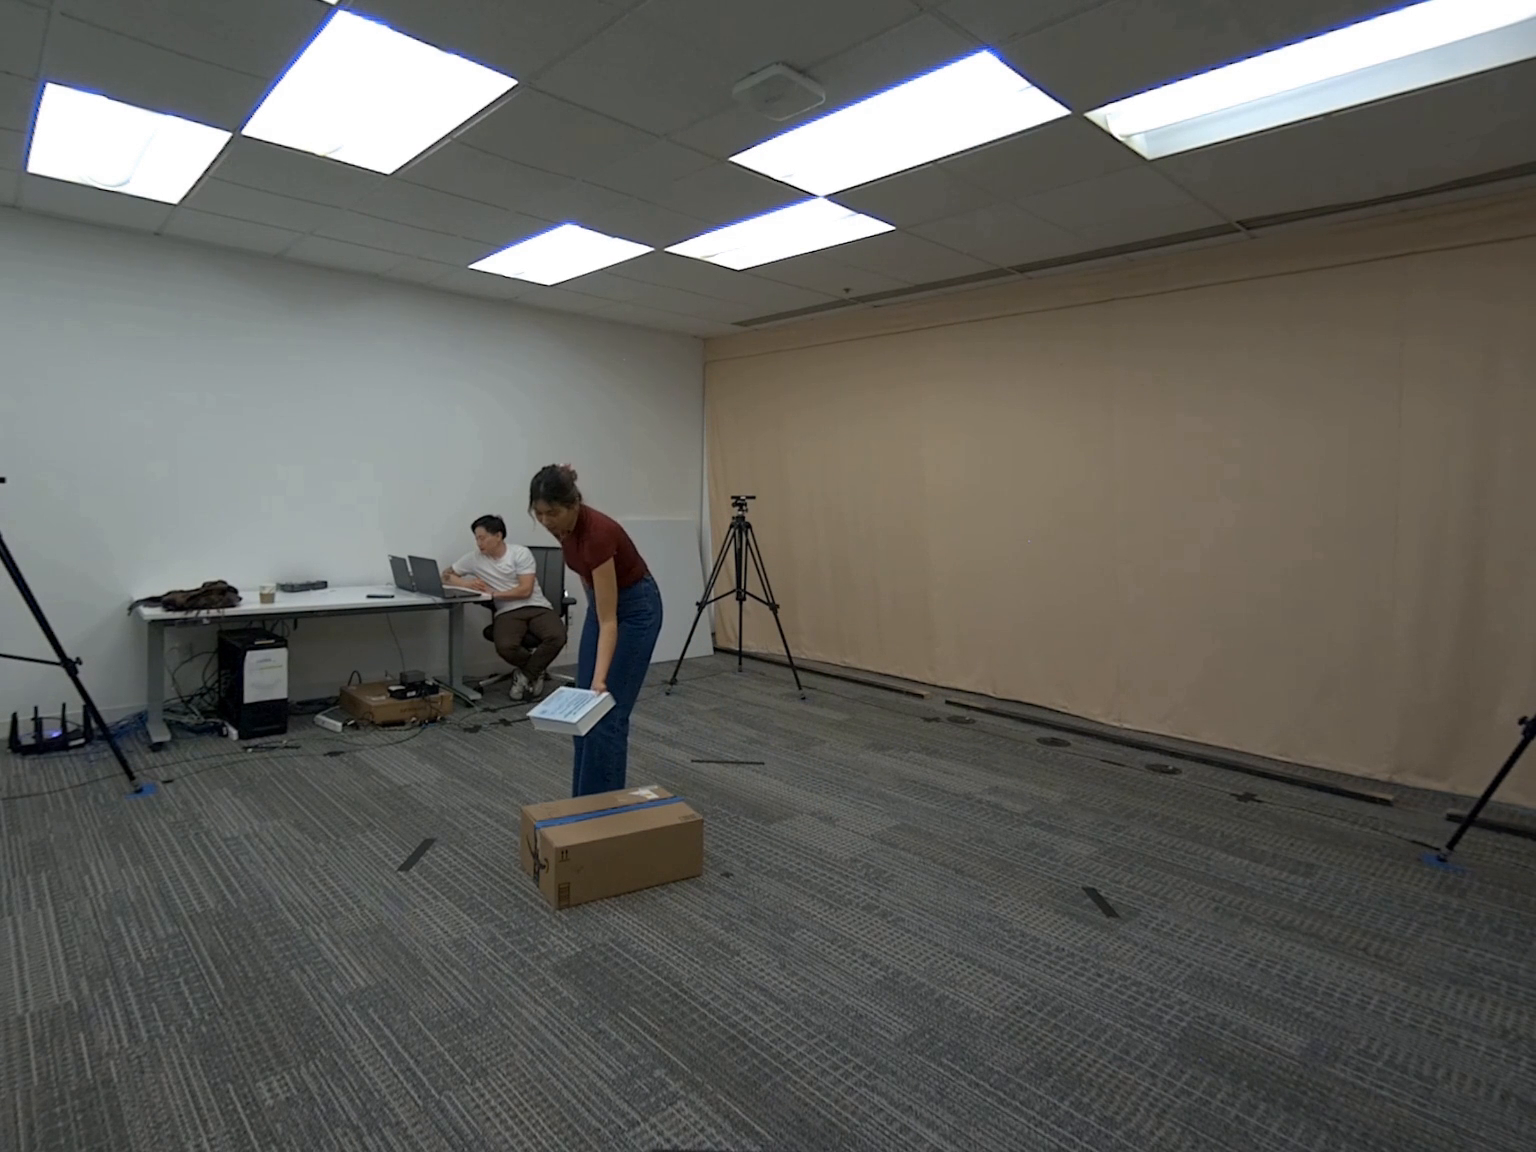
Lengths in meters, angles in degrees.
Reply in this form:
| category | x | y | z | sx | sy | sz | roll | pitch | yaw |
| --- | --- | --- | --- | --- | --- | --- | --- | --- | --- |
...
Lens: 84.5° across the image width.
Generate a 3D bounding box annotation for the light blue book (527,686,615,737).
| category | x | y | z | sx | sy | sz | roll | pitch | yaw |
| --- | --- | --- | --- | --- | --- | --- | --- | --- | --- |
| light blue book | -0.728 | 0.488 | 3.032 | 0.266 | 0.058 | 0.191 | -1 | 29 | 29 |
